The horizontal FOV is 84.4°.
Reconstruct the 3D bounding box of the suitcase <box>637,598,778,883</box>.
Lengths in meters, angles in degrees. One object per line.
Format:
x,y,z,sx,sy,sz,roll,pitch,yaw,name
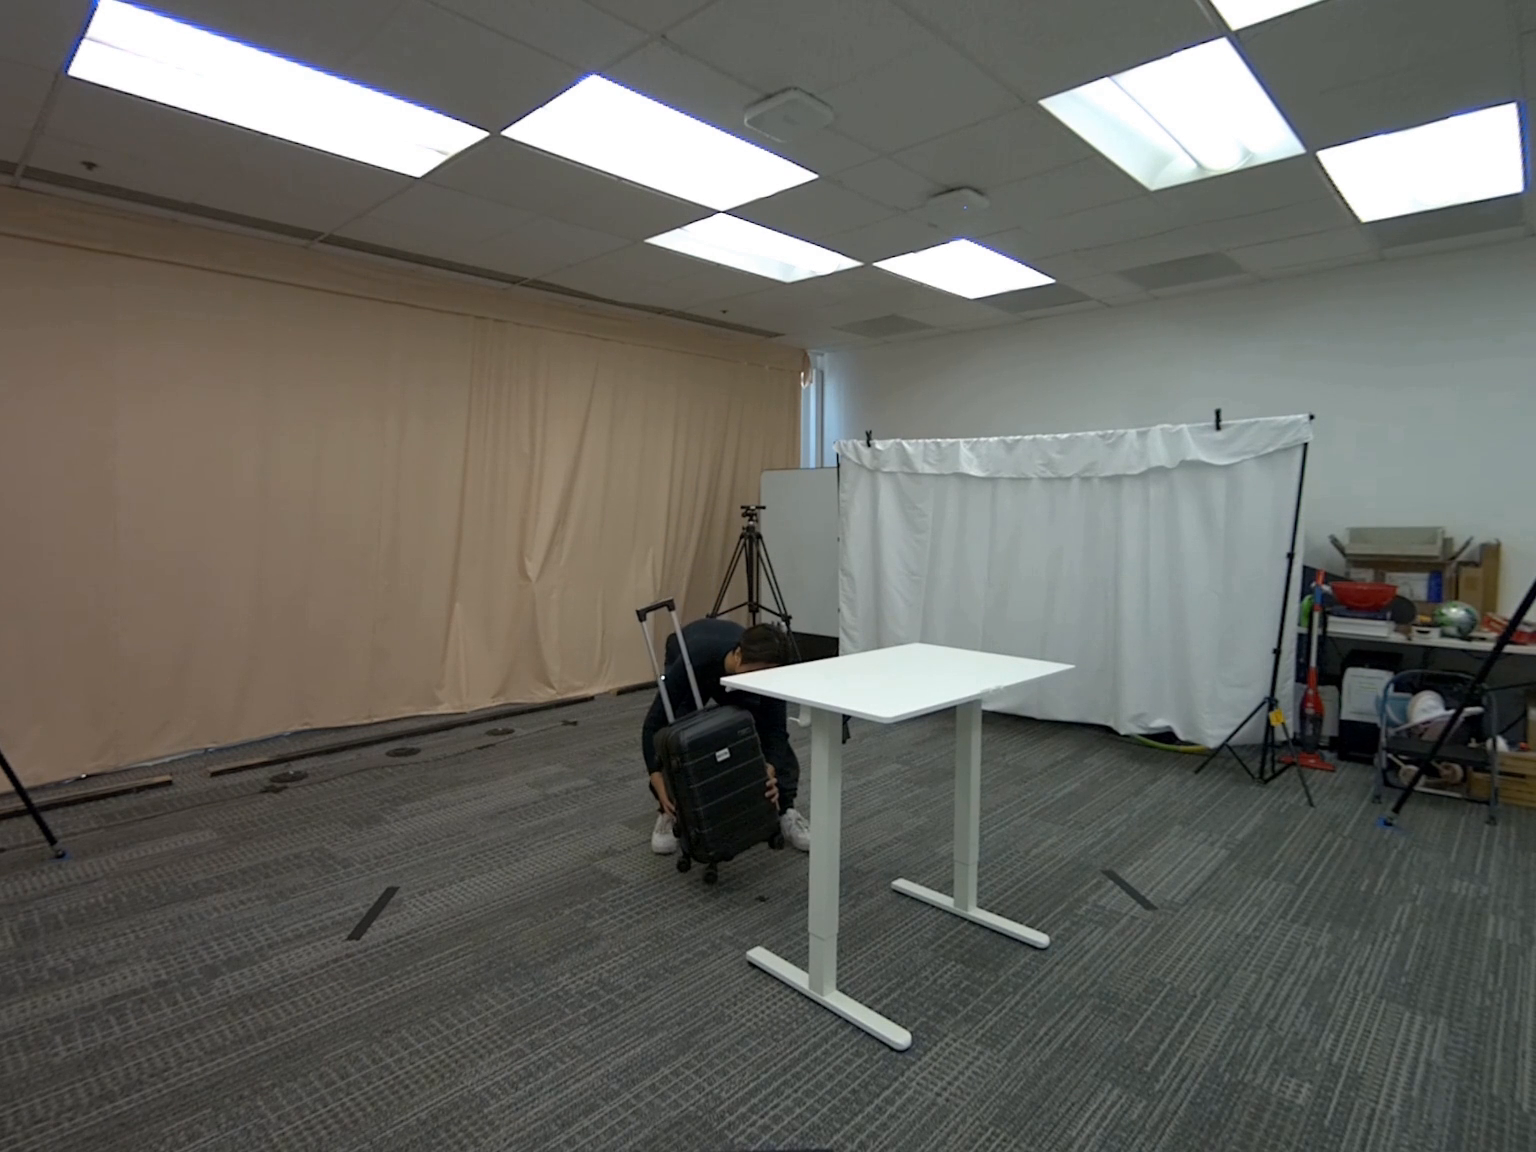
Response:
-0.234,0.565,3.084,0.375,0.977,0.263,-15,2,-32,suitcase
